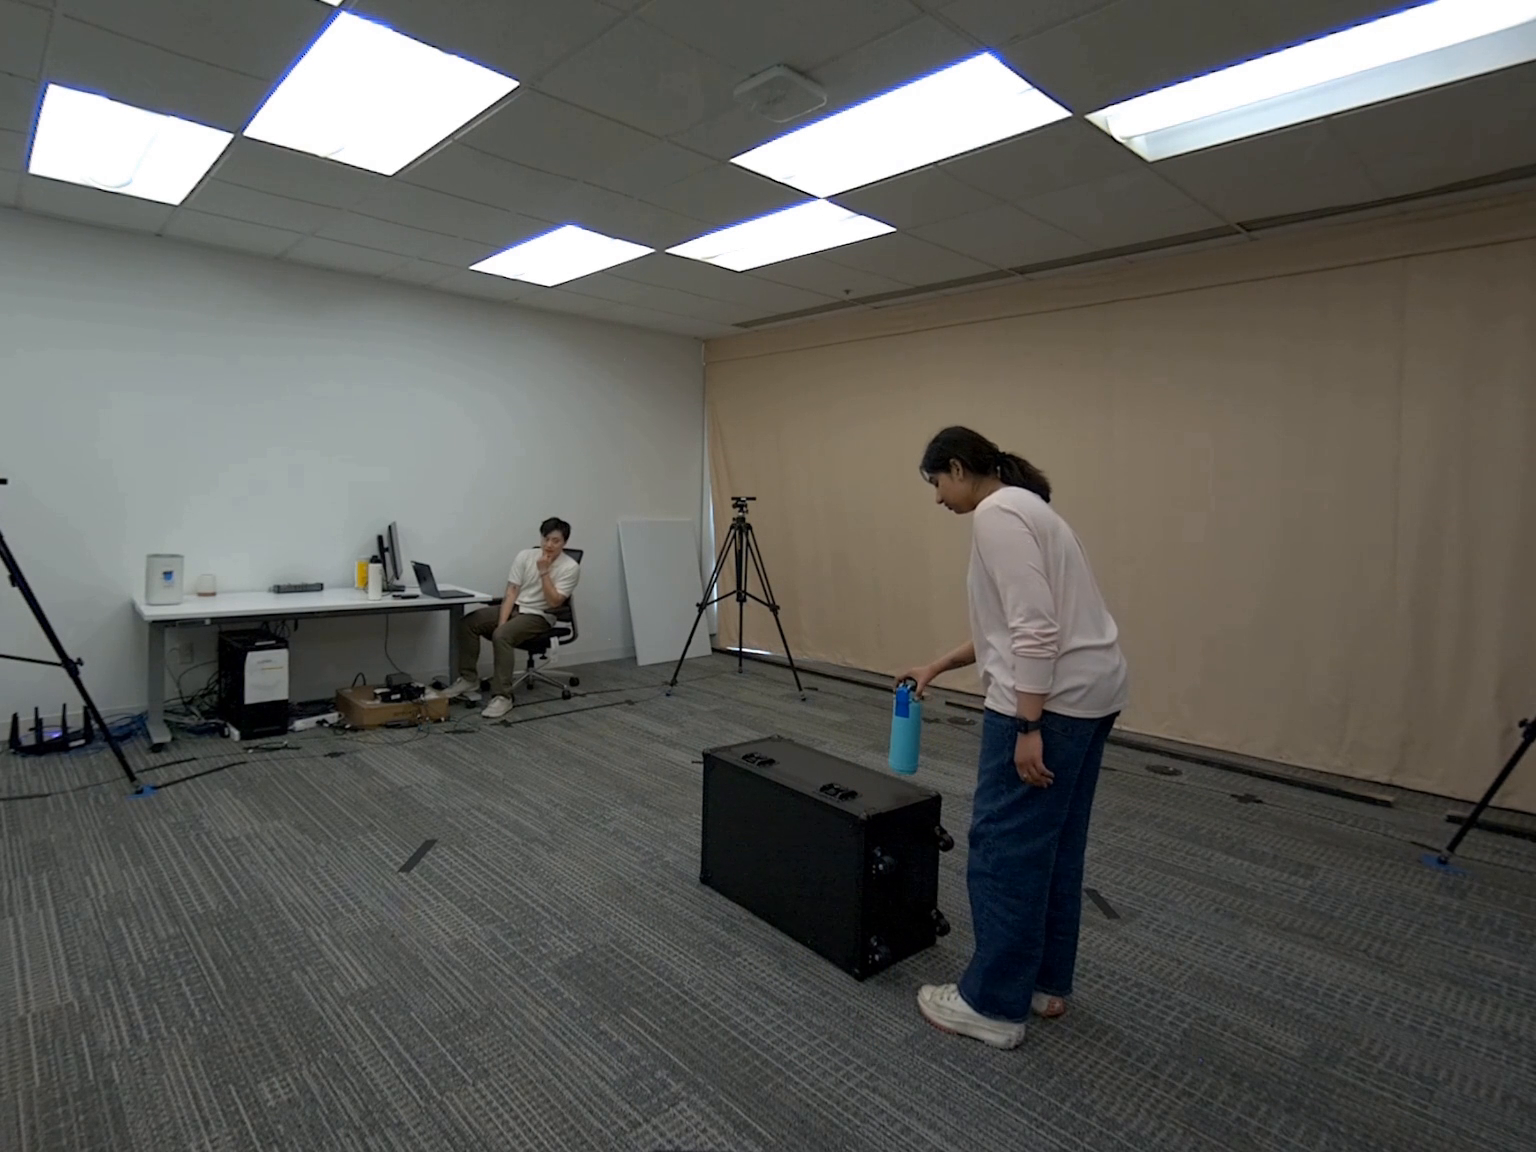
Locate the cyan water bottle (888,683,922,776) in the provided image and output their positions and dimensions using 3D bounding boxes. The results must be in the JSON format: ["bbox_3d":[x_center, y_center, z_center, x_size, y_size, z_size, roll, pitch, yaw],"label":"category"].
[{"bbox_3d":[0.435,0.472,2.620,0.092,0.283,0.092,3,3,-2],"label":"cyan water bottle"}]
